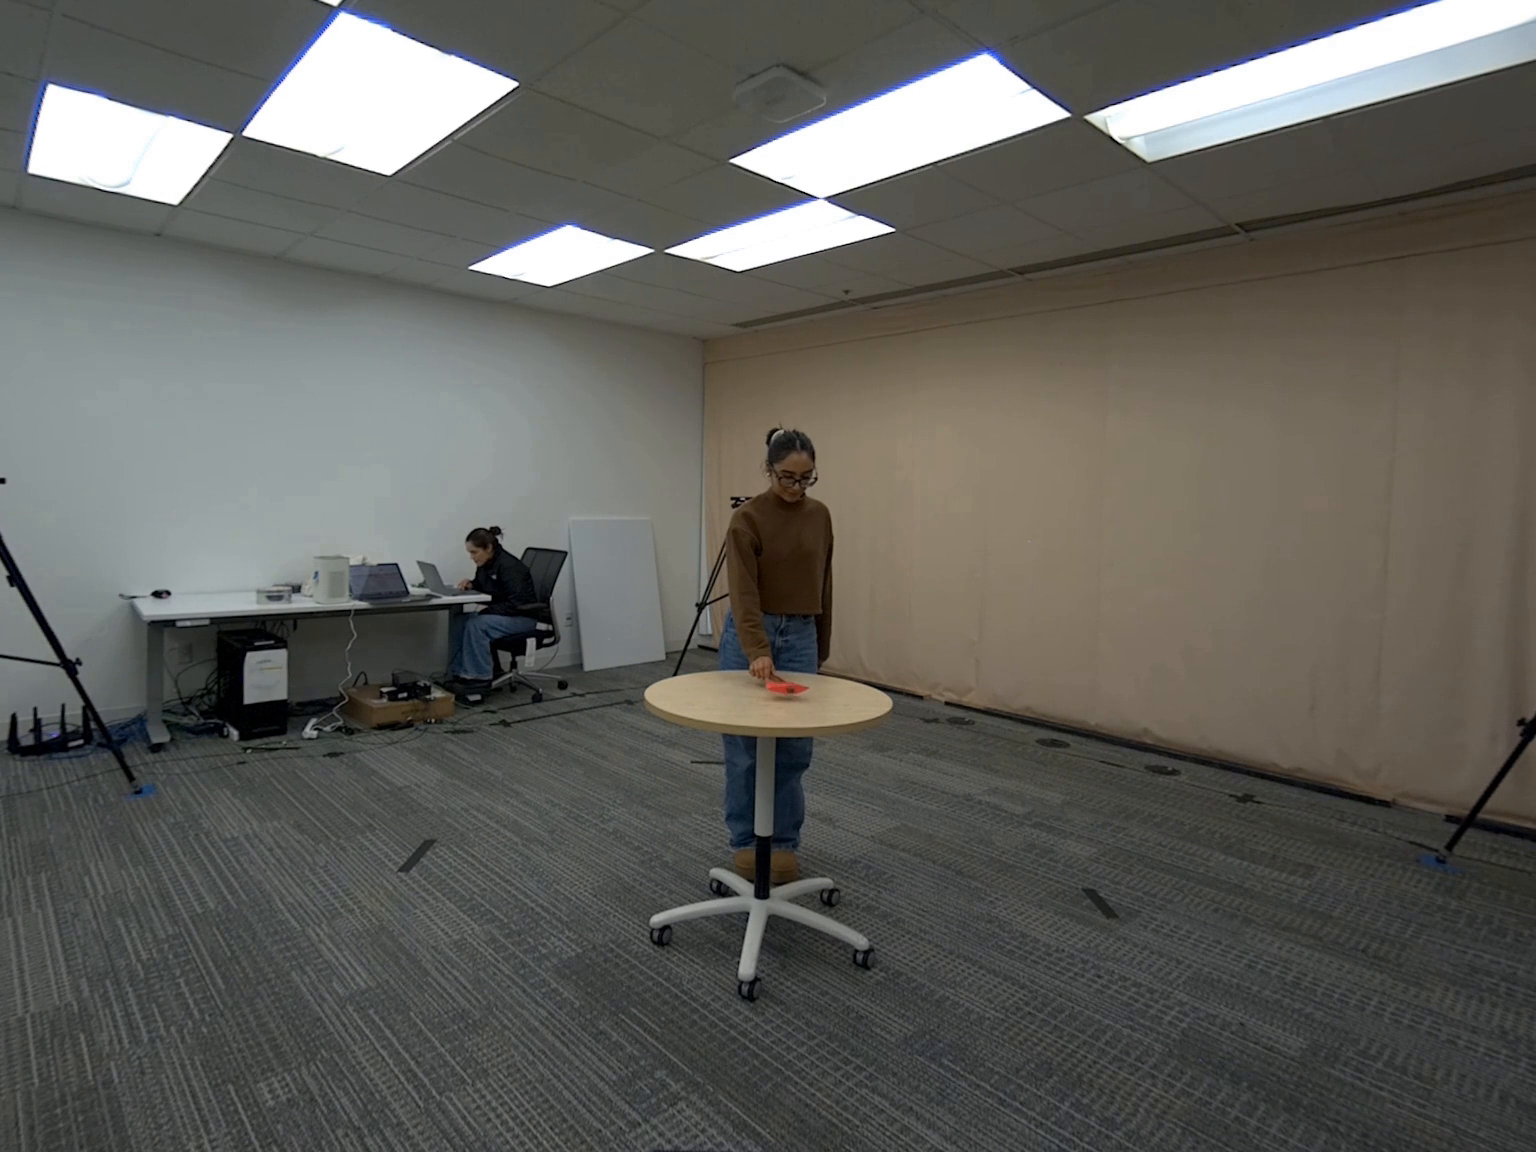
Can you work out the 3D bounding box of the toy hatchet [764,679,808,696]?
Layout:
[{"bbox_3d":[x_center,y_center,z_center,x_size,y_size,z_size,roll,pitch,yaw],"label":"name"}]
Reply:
[{"bbox_3d":[0.031,0.331,2.660,0.130,0.029,0.272,0,7,-8],"label":"toy hatchet"}]
